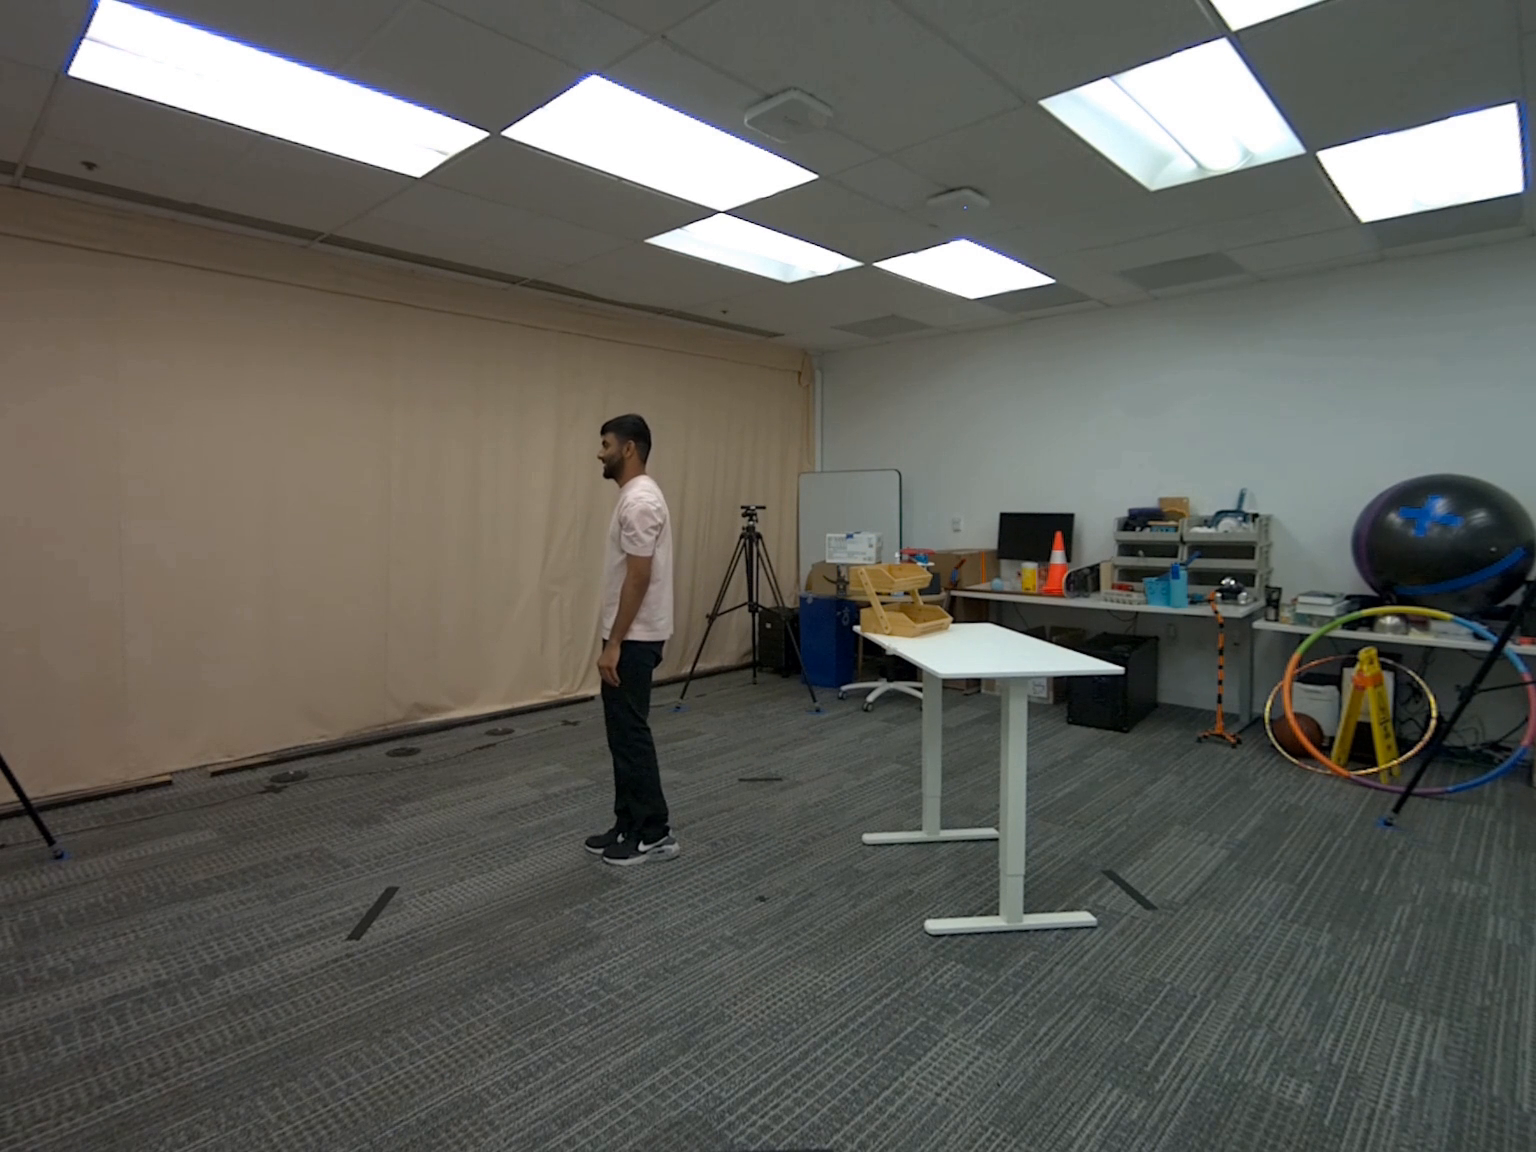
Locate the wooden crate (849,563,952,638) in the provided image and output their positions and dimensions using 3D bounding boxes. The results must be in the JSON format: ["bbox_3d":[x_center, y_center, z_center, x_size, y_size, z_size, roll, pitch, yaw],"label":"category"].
[{"bbox_3d":[0.546,0.089,3.423,0.312,0.273,0.314,2,4,41],"label":"wooden crate"}]
